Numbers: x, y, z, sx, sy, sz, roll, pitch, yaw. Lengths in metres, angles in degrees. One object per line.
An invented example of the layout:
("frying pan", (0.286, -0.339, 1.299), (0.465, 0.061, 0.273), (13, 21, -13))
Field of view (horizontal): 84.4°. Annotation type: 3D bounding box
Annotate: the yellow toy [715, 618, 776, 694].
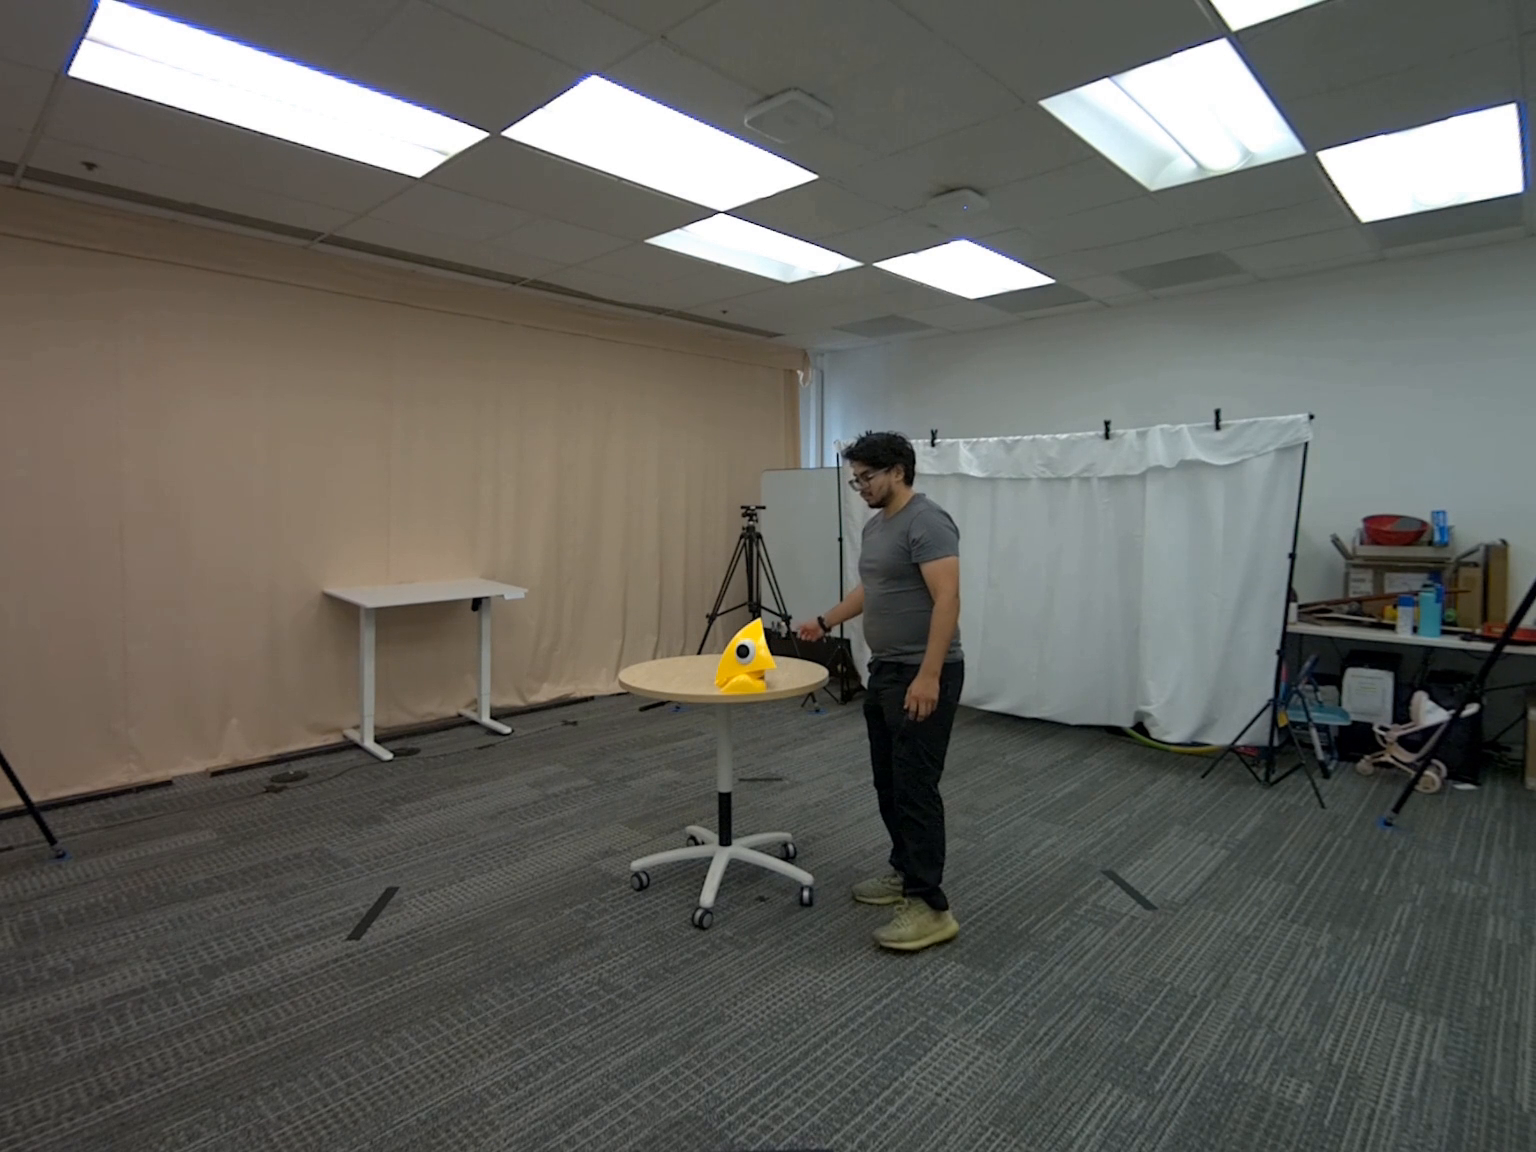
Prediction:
("yellow toy", (-0.077, 0.259, 2.814), (0.191, 0.230, 0.207), (-2, 4, -10))
